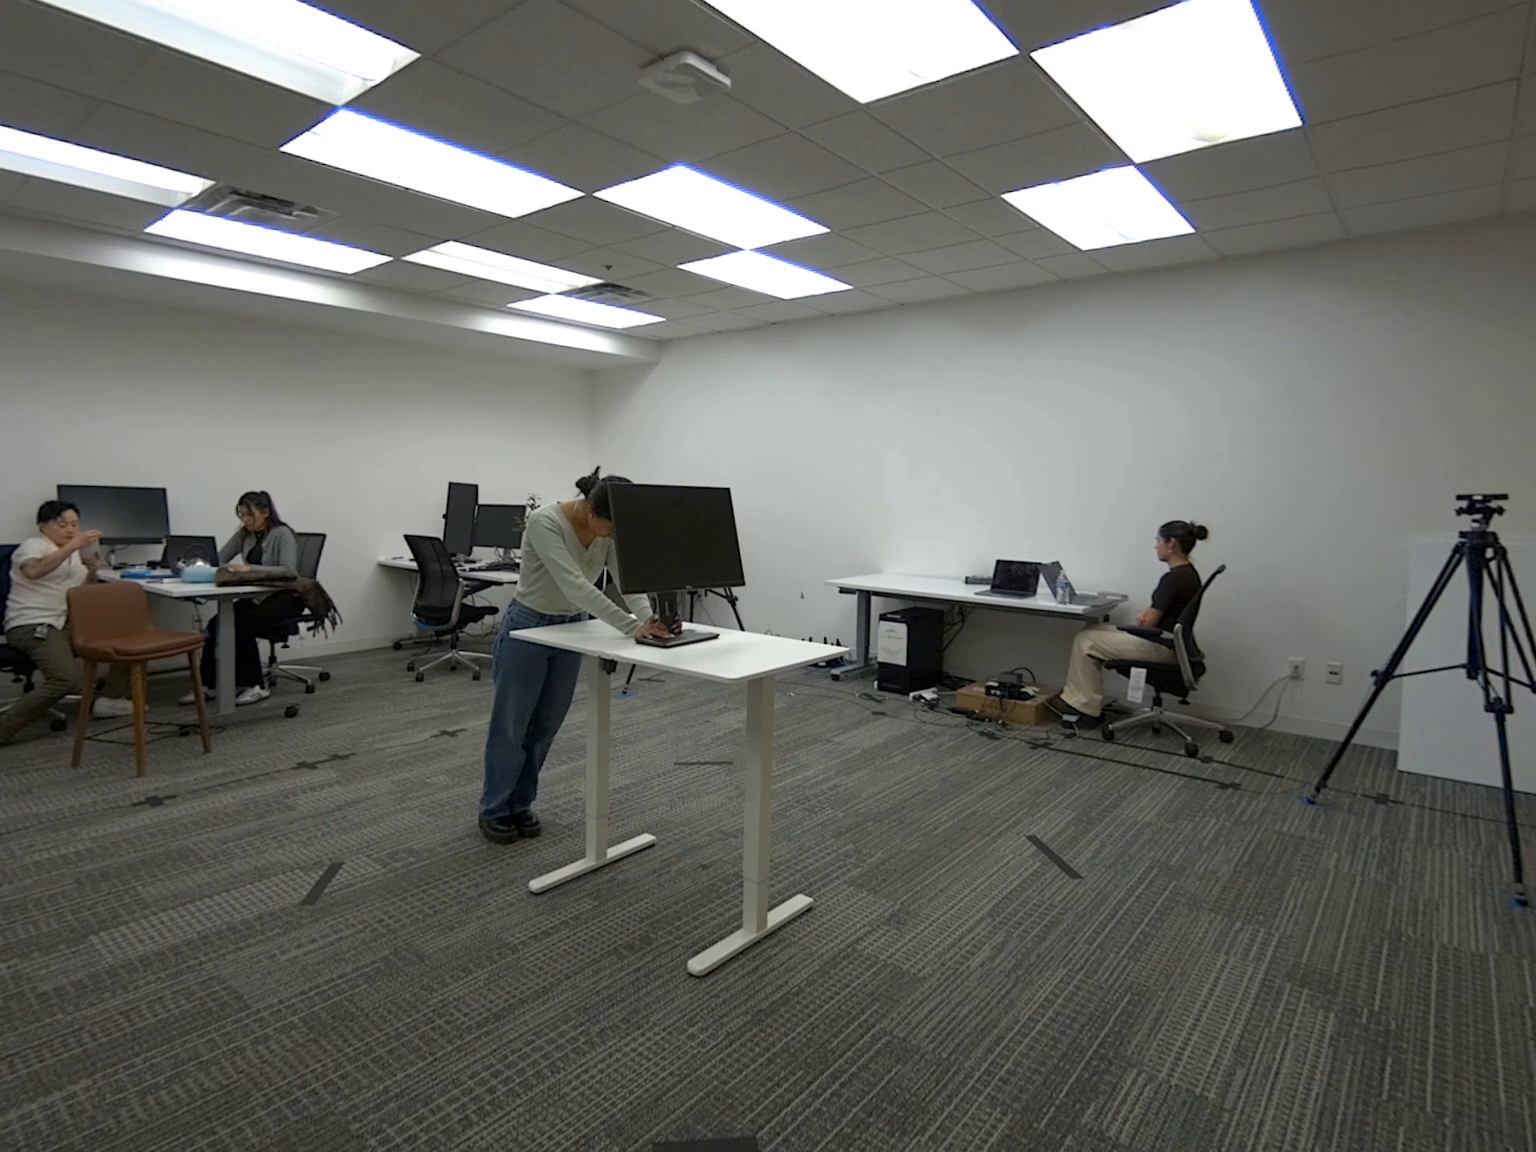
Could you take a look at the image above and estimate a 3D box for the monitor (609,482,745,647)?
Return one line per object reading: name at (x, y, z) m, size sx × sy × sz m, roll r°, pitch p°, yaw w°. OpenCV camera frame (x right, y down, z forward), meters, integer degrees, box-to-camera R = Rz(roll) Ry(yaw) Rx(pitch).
monitor at (-0.323, -0.042, 2.823) m, size 0.193 × 0.521 × 0.523 m, roll 2°, pitch 3°, yaw 41°
